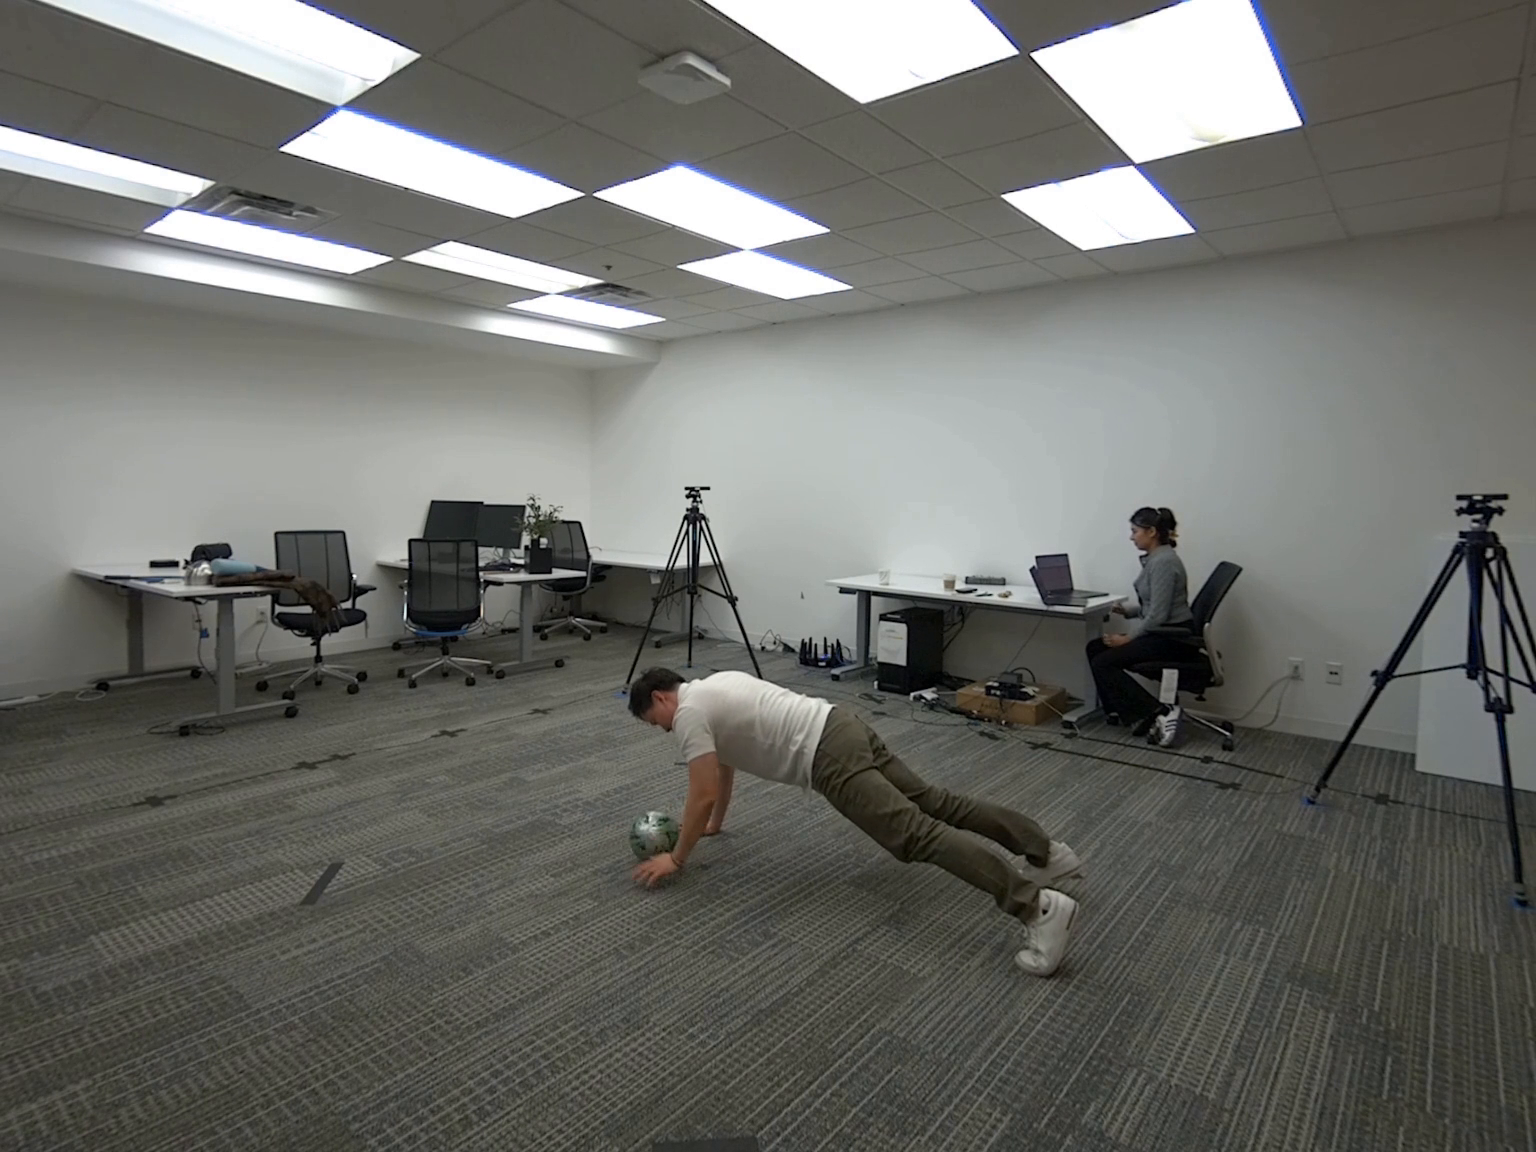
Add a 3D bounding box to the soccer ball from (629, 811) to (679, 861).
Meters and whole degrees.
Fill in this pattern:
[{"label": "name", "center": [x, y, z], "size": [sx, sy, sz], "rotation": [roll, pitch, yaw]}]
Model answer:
[{"label": "soccer ball", "center": [-0.426, 0.967, 3.150], "size": [0.187, 0.187, 0.188], "rotation": [1, 4, -2]}]
